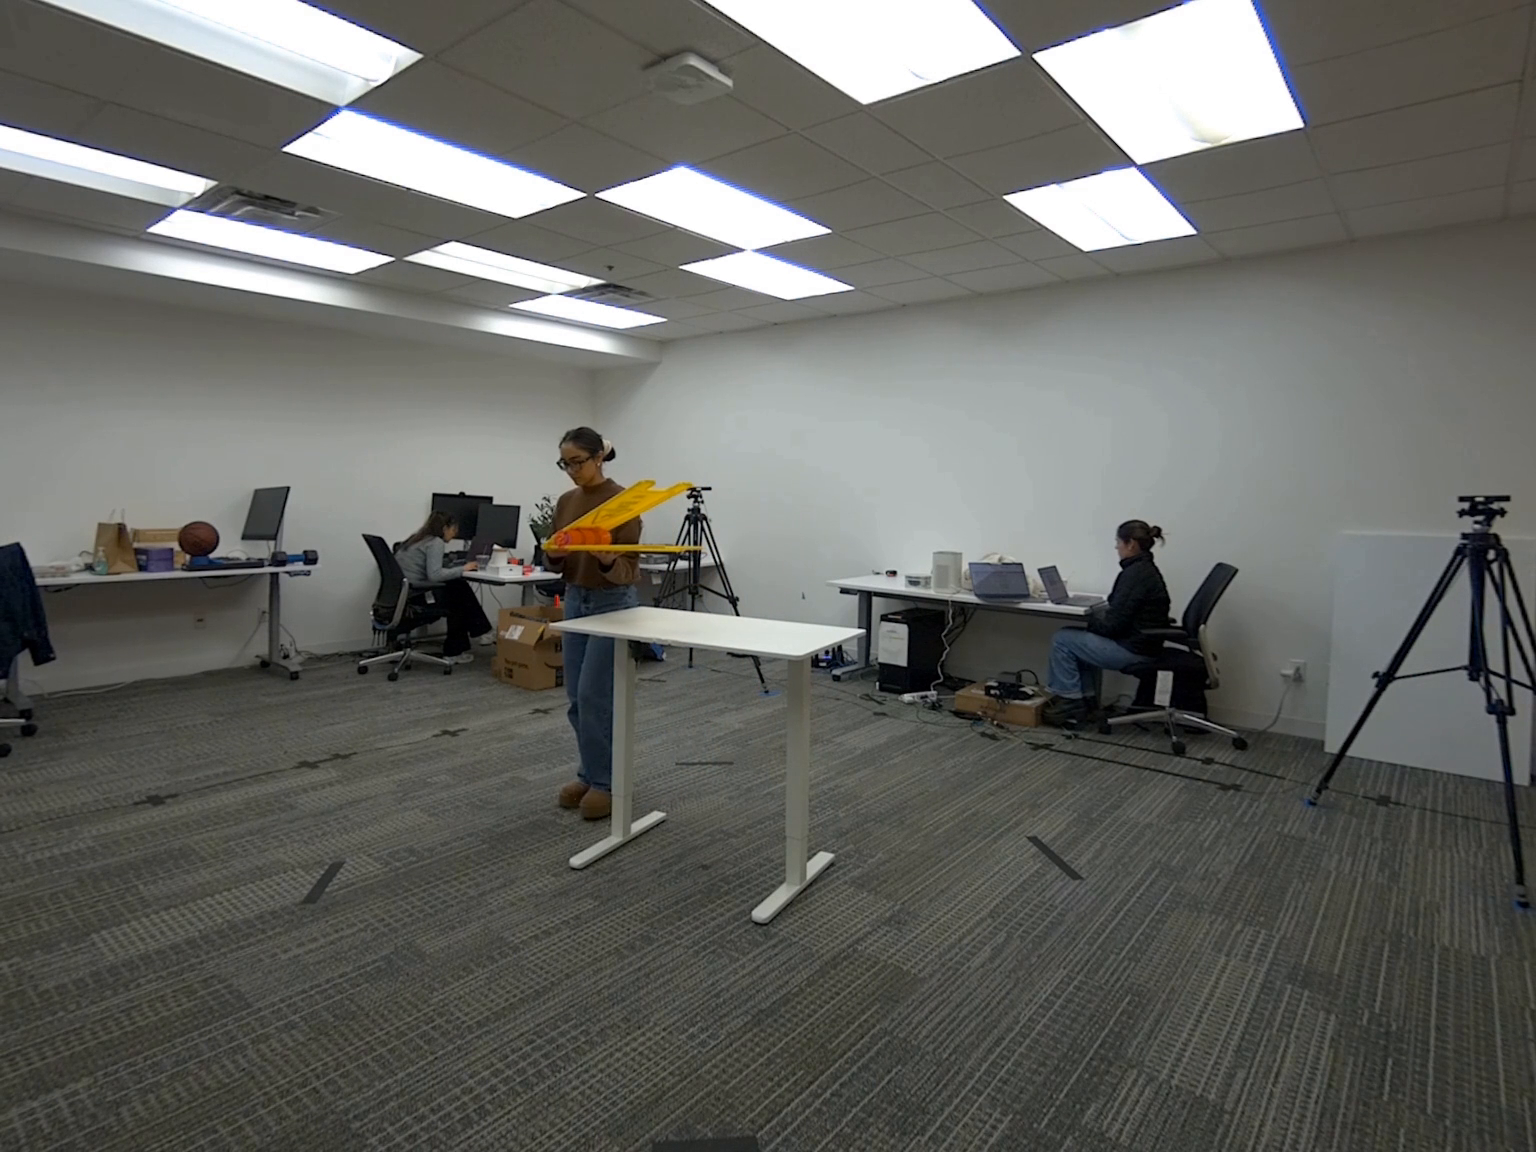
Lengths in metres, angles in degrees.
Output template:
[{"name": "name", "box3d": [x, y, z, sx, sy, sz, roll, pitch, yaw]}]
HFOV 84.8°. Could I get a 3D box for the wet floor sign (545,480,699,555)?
[{"name": "wet floor sign", "box3d": [-0.625, -0.166, 3.261, 0.662, 0.291, 0.274, -9, -5, 35]}]
